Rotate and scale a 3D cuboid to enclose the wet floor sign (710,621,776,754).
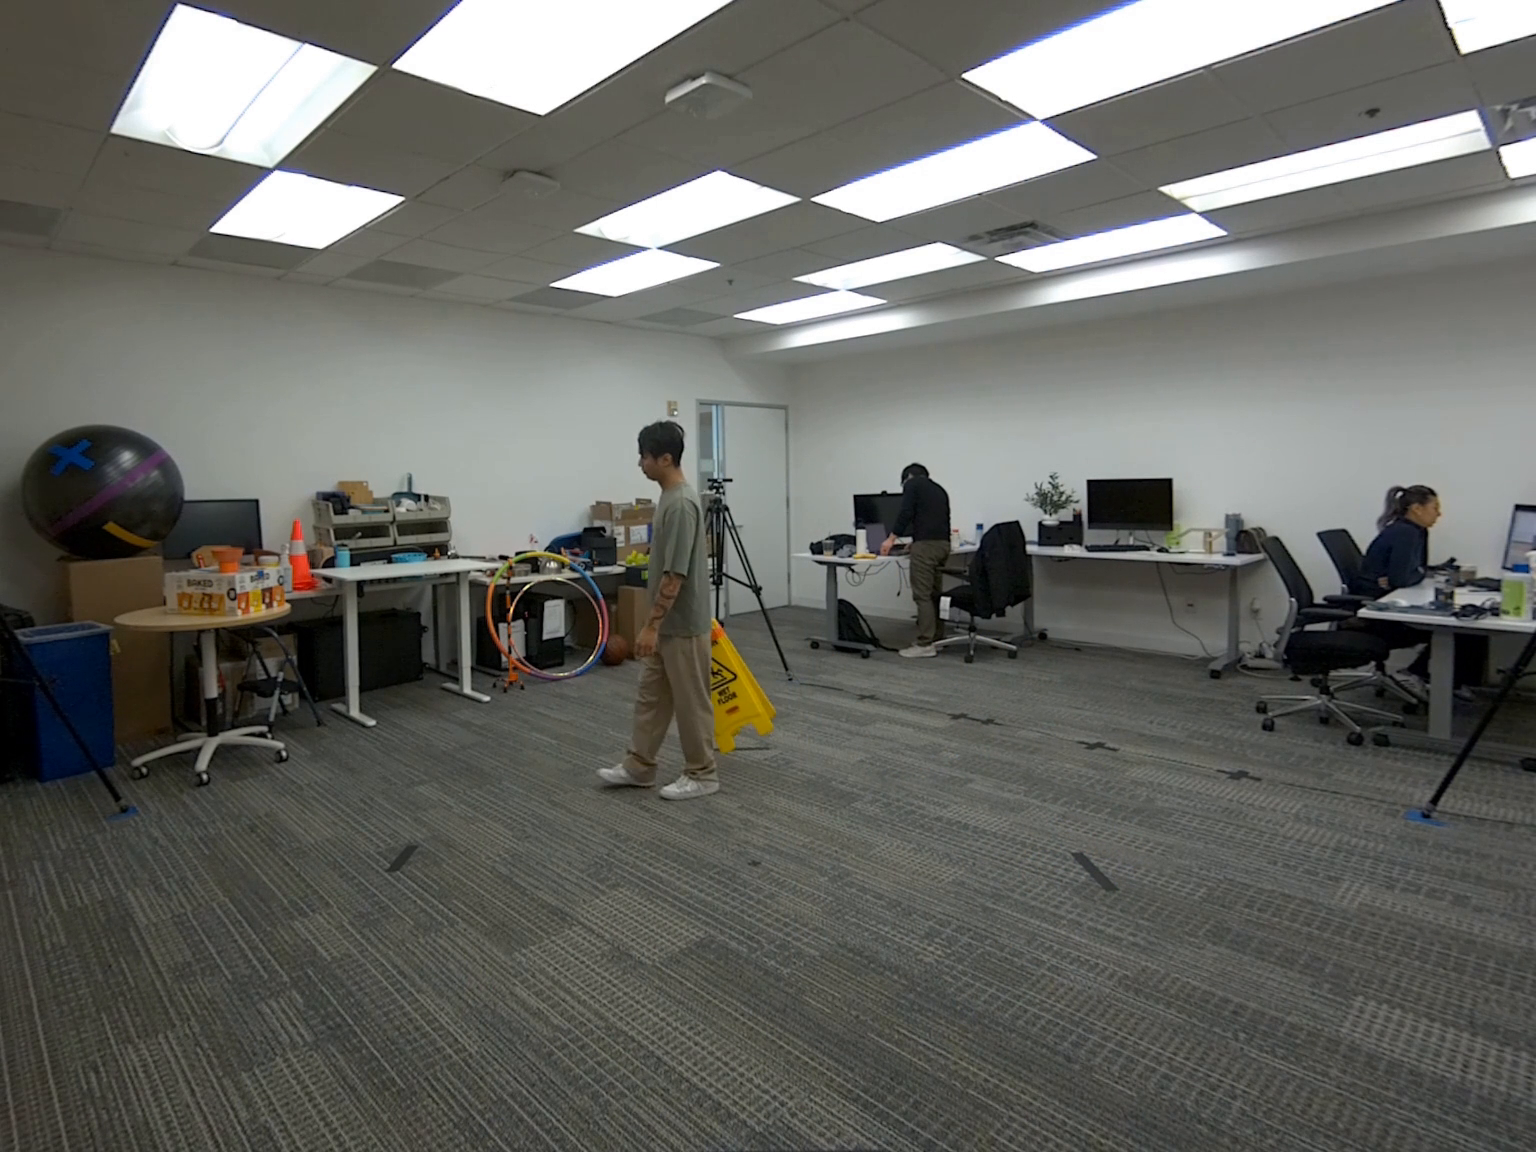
[{"bbox_3d":[-0.251,0.474,4.098,0.283,0.645,0.289,-27,2,7],"label":"wet floor sign"}]
